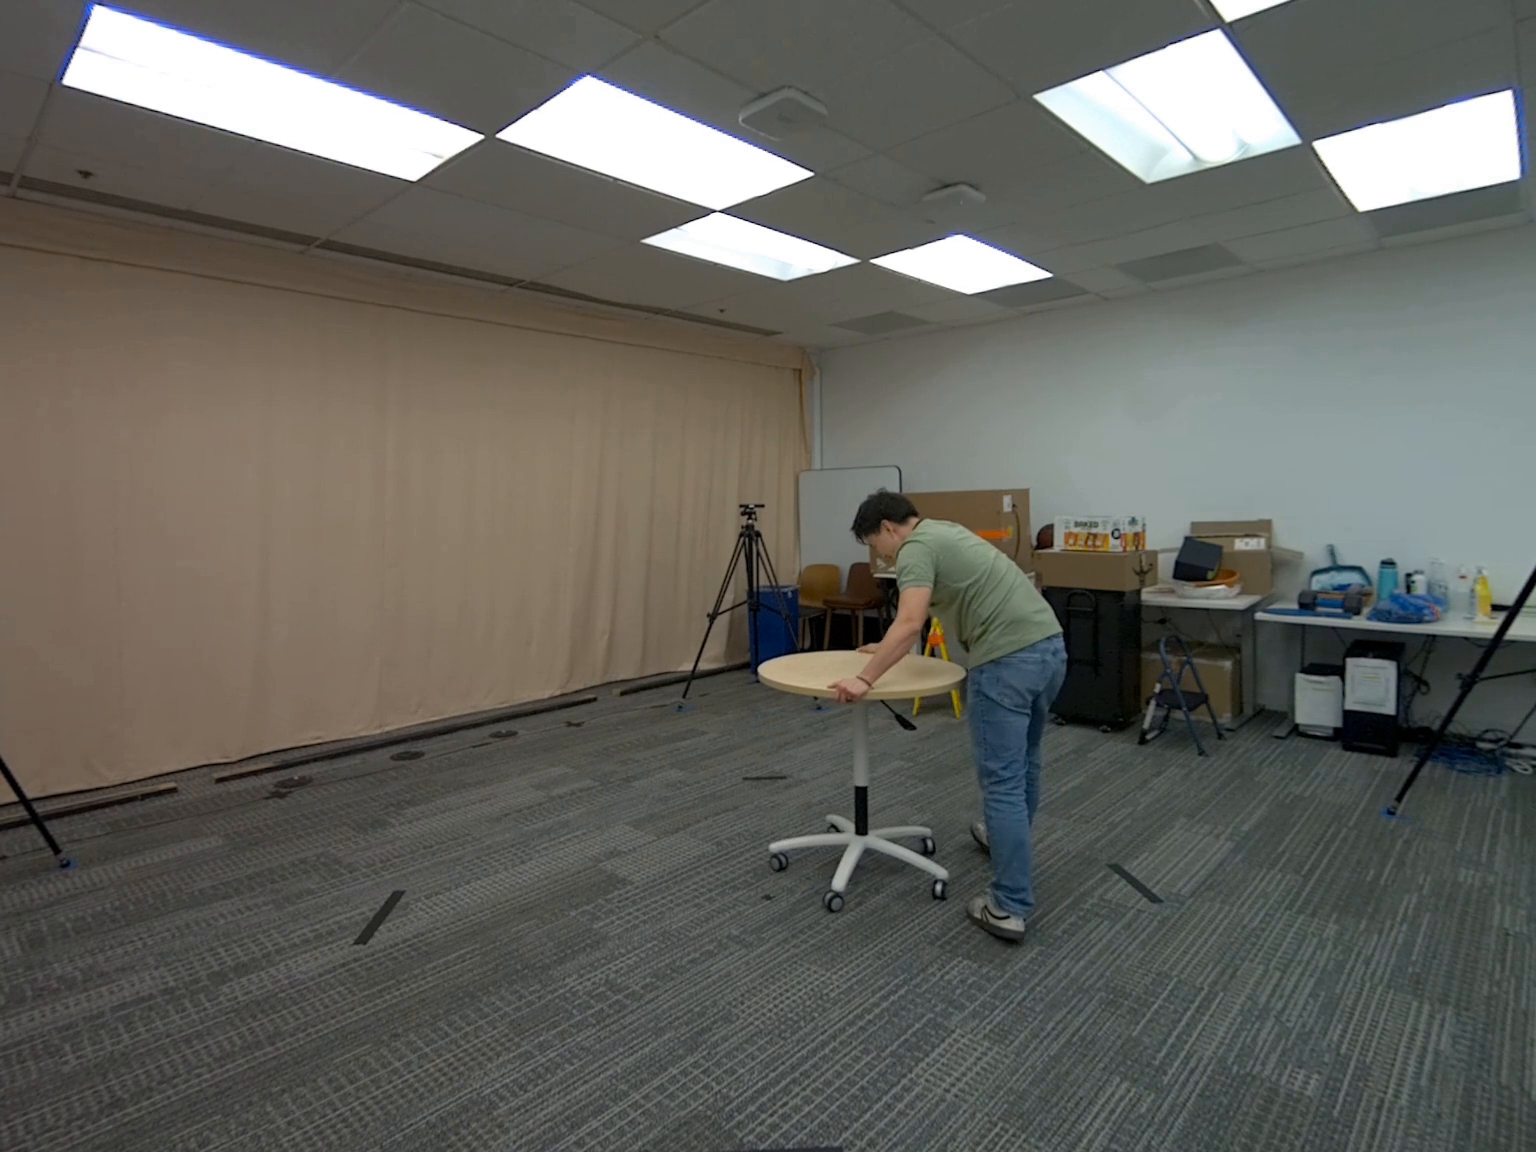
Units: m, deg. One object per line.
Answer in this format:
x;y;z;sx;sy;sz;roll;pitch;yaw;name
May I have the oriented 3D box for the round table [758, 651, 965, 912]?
0.356;0.734;3.167;0.763;0.792;0.766;-1;4;-2;round table
